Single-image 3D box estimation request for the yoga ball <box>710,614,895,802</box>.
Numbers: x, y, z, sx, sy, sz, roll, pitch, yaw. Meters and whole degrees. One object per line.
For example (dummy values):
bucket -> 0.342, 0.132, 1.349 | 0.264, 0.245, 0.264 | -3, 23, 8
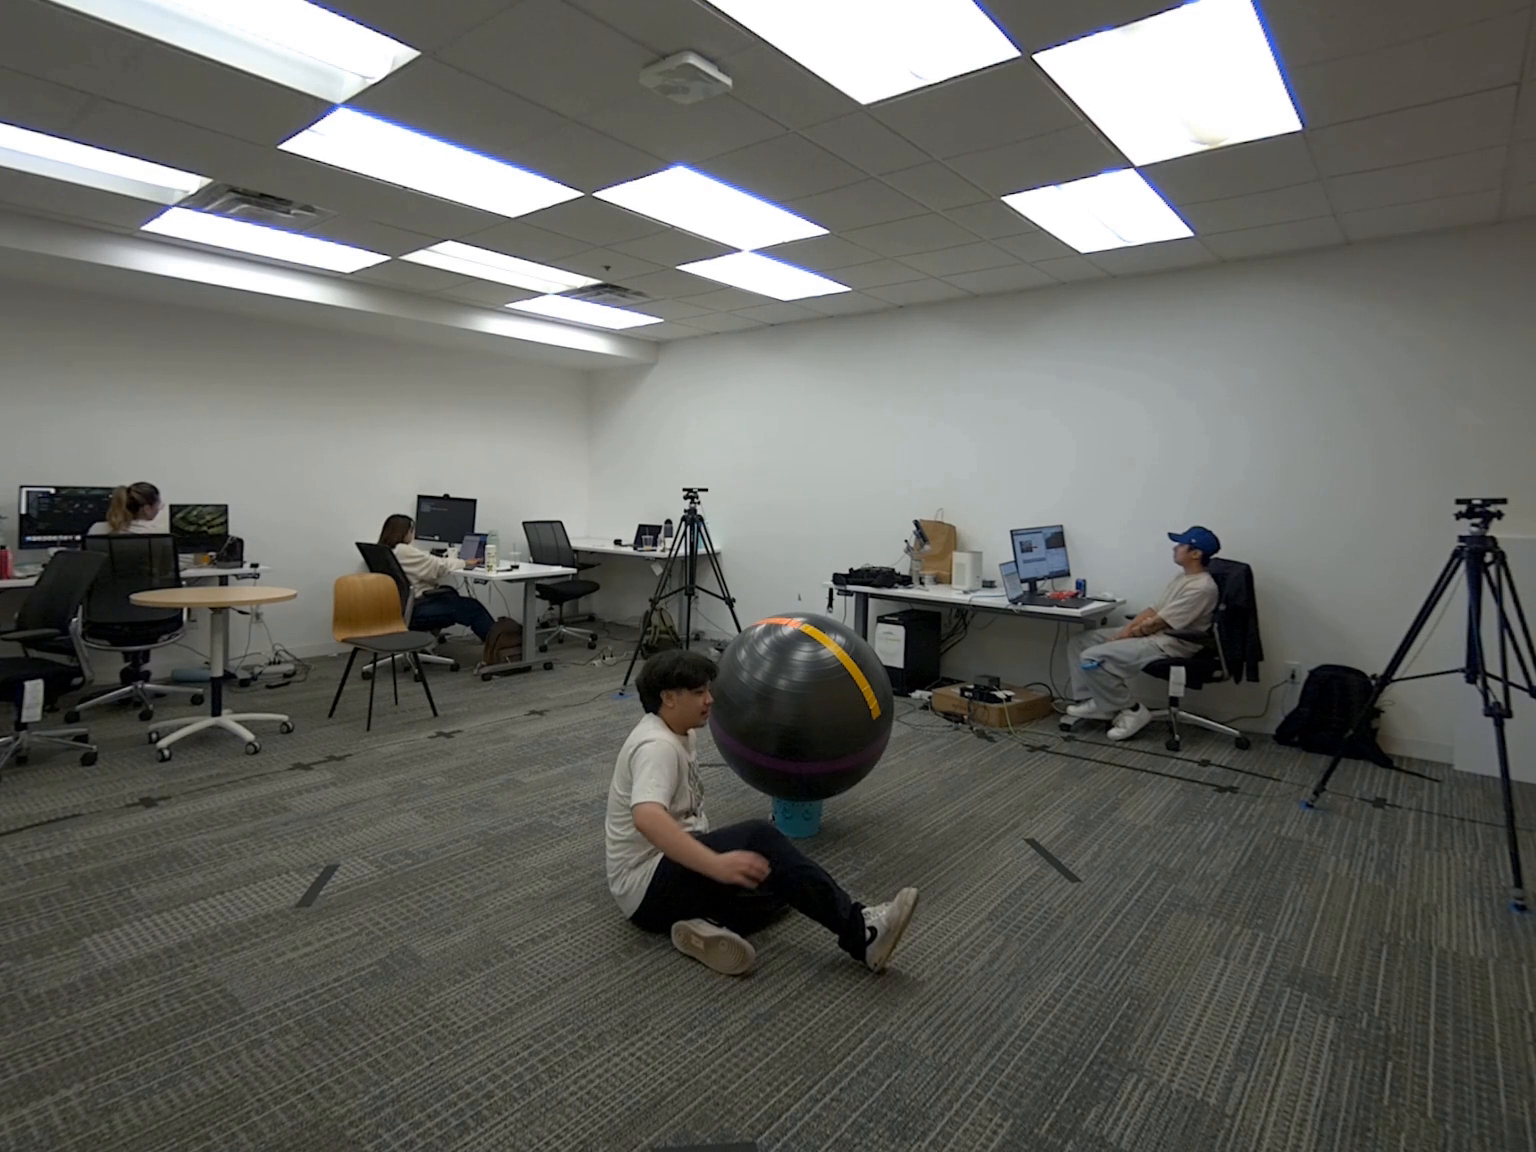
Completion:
yoga ball -> 0.134, 0.527, 3.488 | 0.757, 0.756, 0.761 | 1, 4, -2
